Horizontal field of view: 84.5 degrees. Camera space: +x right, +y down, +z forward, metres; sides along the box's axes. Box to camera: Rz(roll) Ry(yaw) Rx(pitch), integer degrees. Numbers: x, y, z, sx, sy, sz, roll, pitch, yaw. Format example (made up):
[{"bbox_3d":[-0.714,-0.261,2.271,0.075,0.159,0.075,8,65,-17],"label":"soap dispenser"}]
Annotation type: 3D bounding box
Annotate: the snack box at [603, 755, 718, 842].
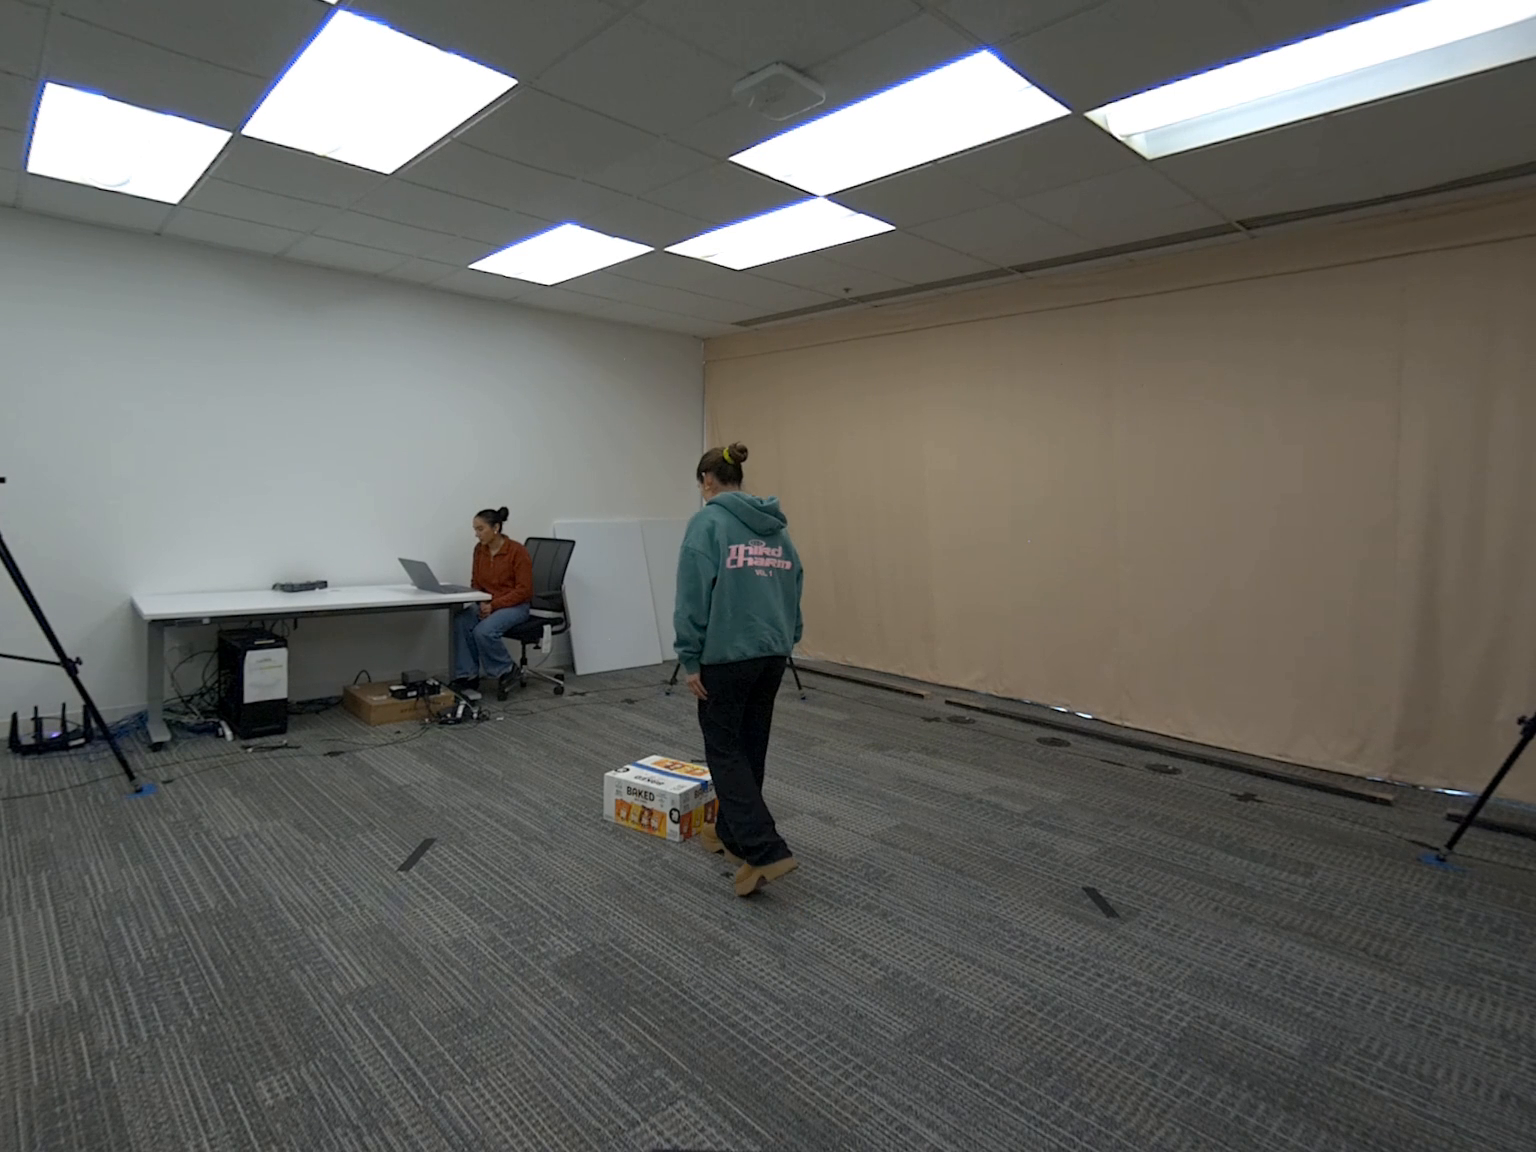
[{"bbox_3d":[-0.450,0.949,3.623,0.414,0.205,0.333,4,5,32],"label":"snack box"}]
